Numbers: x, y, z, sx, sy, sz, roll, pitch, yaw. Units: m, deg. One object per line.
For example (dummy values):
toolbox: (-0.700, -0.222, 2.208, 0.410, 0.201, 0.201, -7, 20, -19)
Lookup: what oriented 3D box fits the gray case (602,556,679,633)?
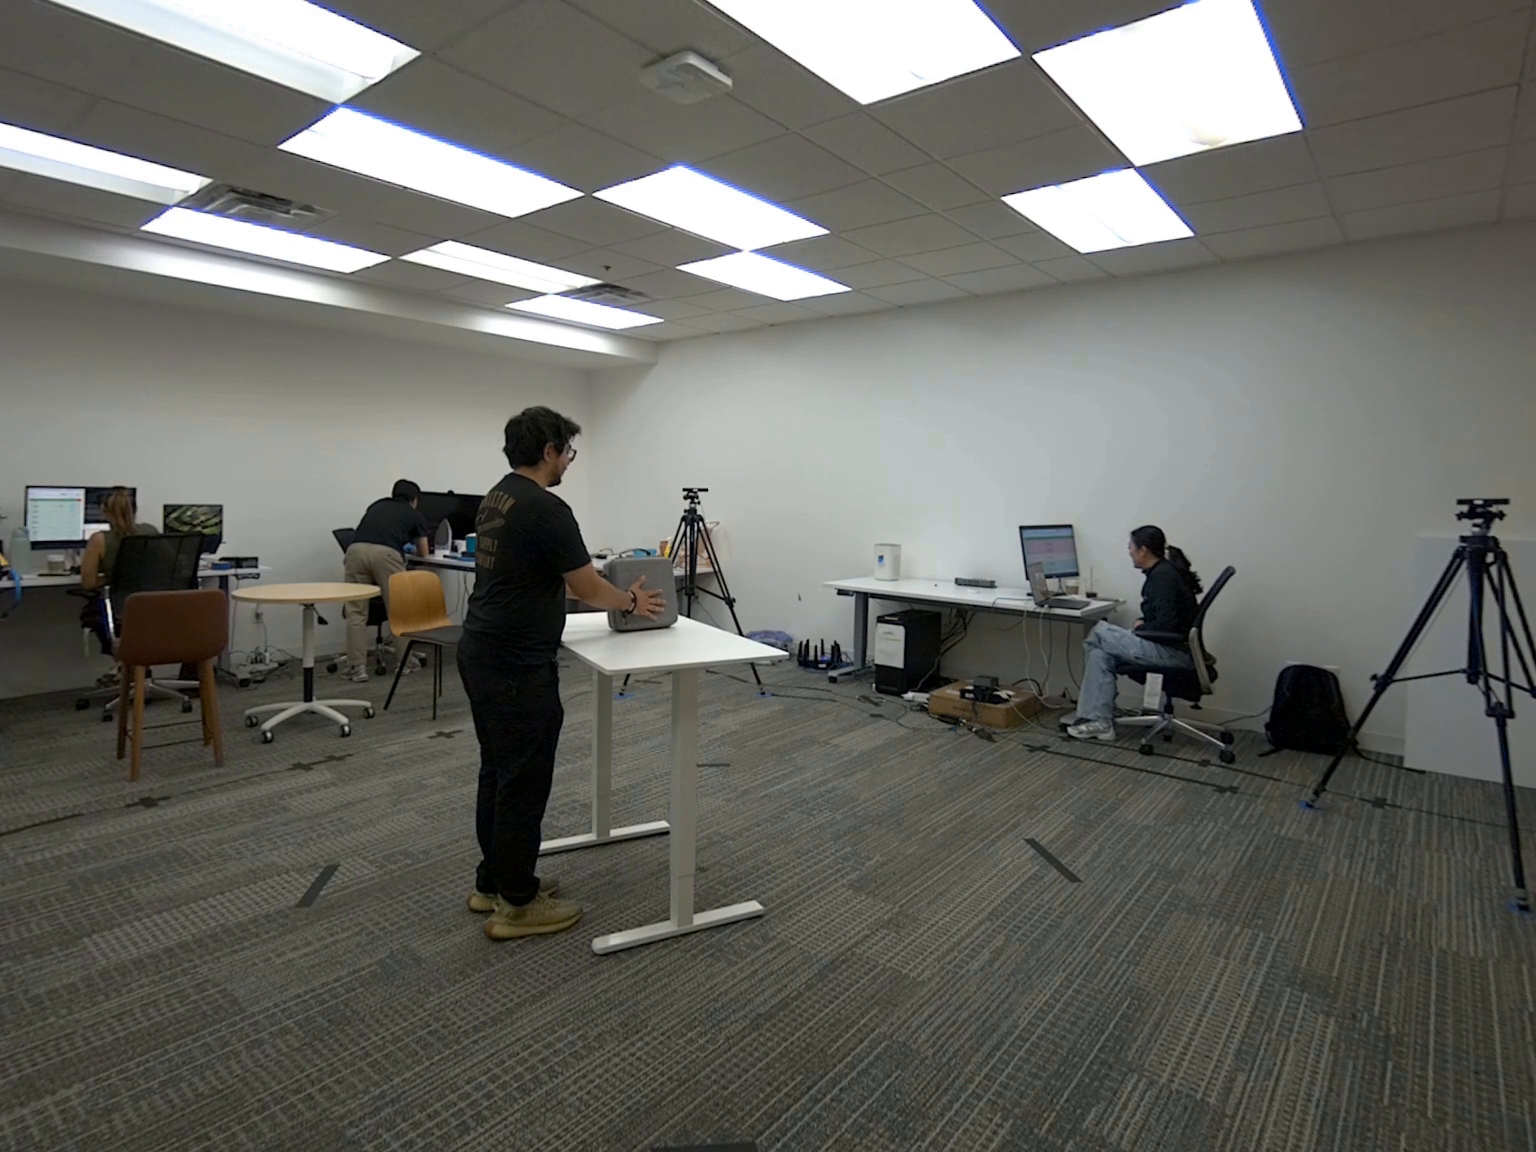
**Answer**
gray case: (-0.468, 0.056, 3.053, 0.250, 0.262, 0.106, -3, -6, -34)
